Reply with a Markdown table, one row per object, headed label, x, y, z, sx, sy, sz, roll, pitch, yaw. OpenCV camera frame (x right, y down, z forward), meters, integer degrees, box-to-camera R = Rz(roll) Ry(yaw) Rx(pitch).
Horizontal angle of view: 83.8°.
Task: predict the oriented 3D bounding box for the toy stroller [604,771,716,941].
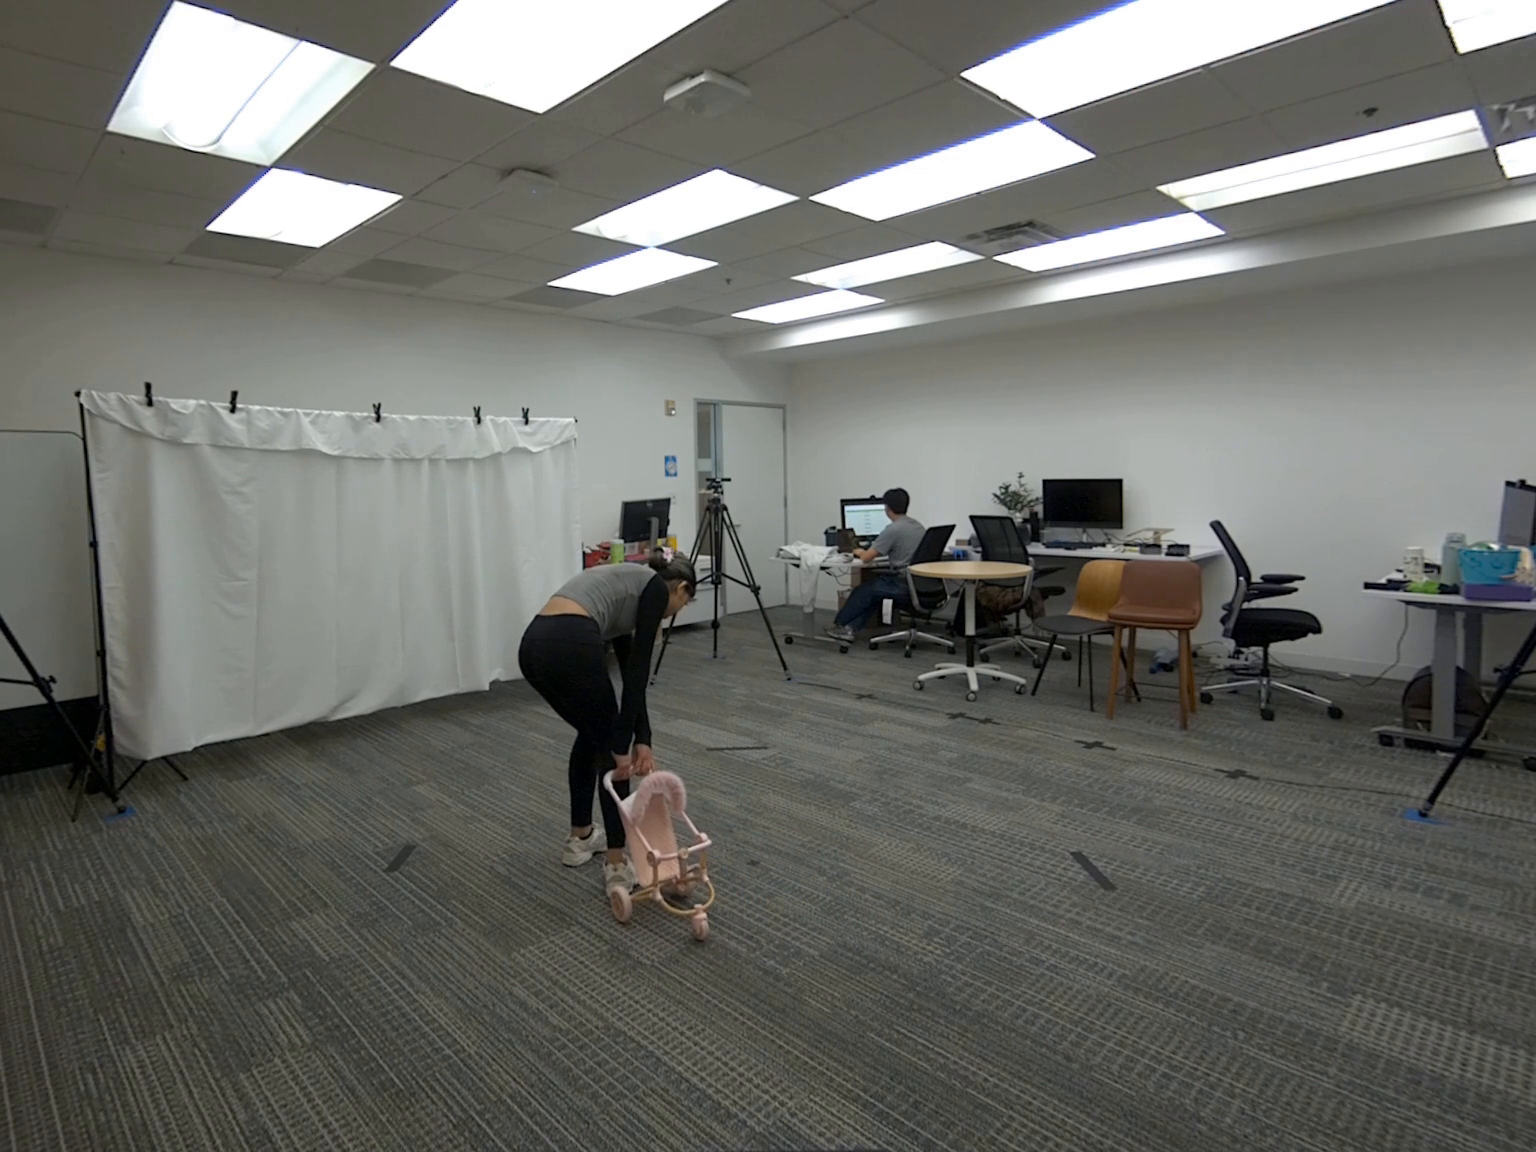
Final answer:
| label | x | y | z | sx | sy | sz | roll | pitch | yaw |
| --- | --- | --- | --- | --- | --- | --- | --- | --- | --- |
| toy stroller | -0.336 | 0.864 | 2.736 | 0.274 | 0.541 | 0.346 | -3 | -13 | -37 |
